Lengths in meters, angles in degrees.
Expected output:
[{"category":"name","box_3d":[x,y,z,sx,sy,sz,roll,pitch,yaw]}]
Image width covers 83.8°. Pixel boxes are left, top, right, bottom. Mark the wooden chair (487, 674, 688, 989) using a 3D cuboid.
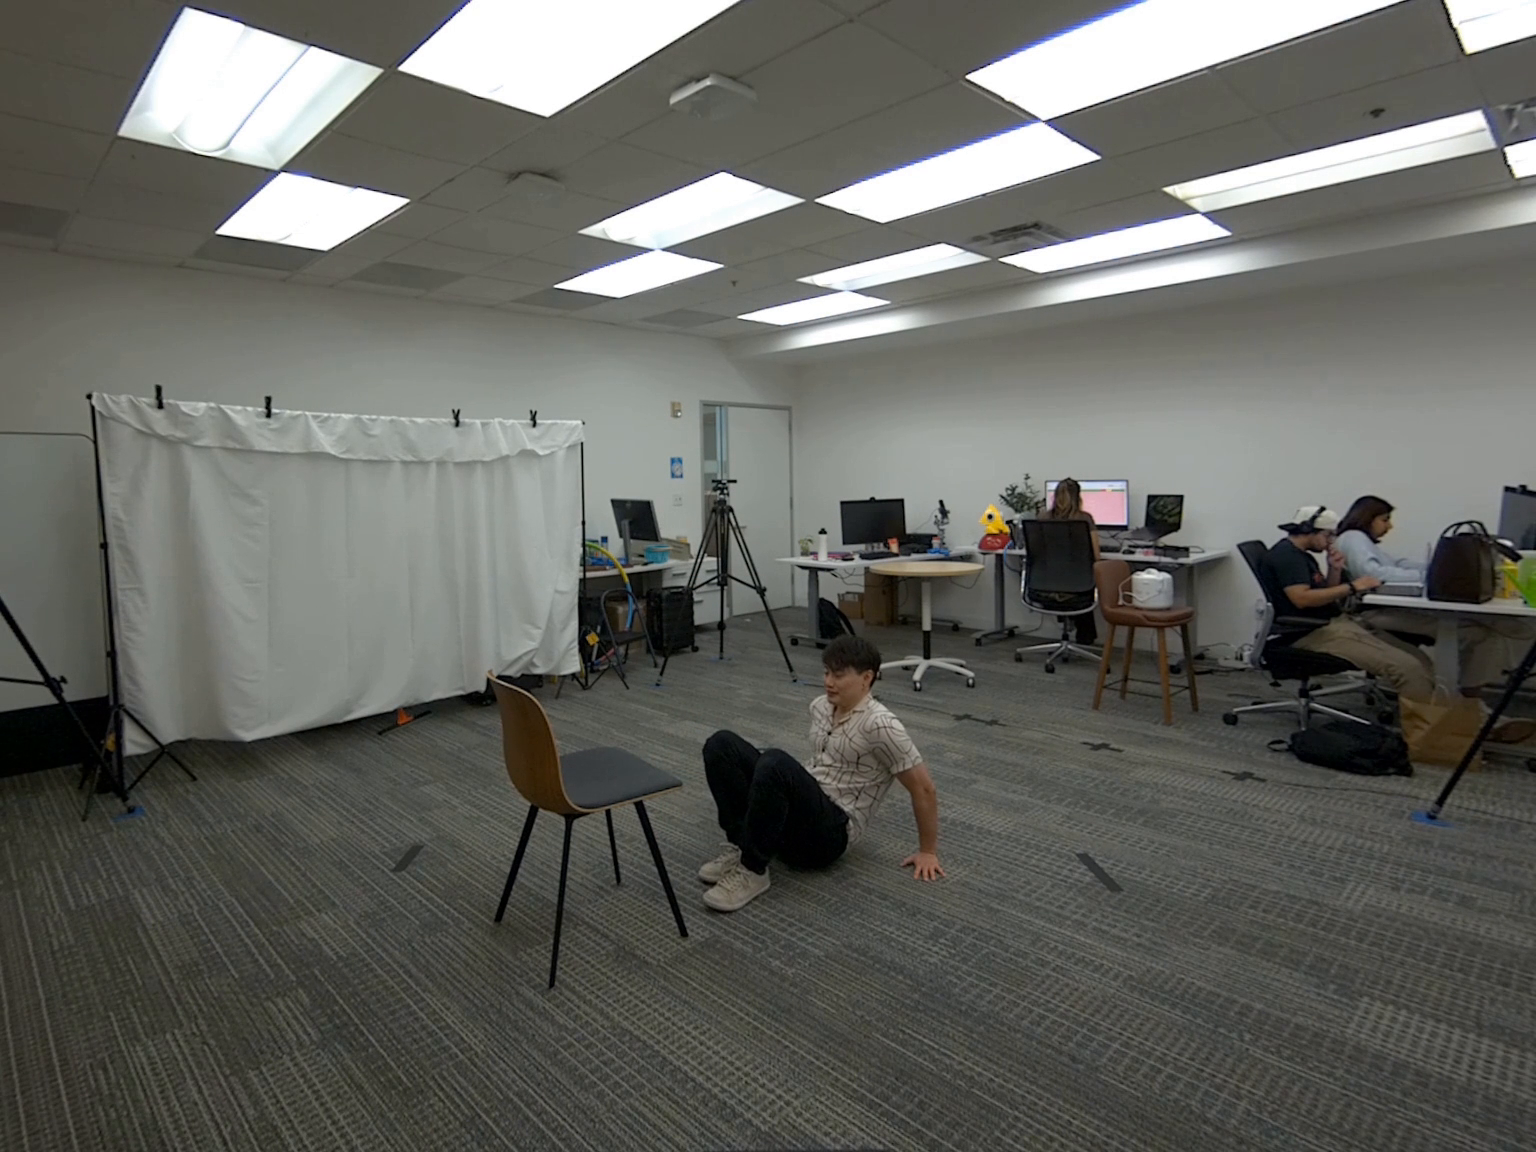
[{"category":"wooden chair","box_3d":[-0.562,0.684,2.650,0.511,0.872,0.492,-9,8,-36]}]
